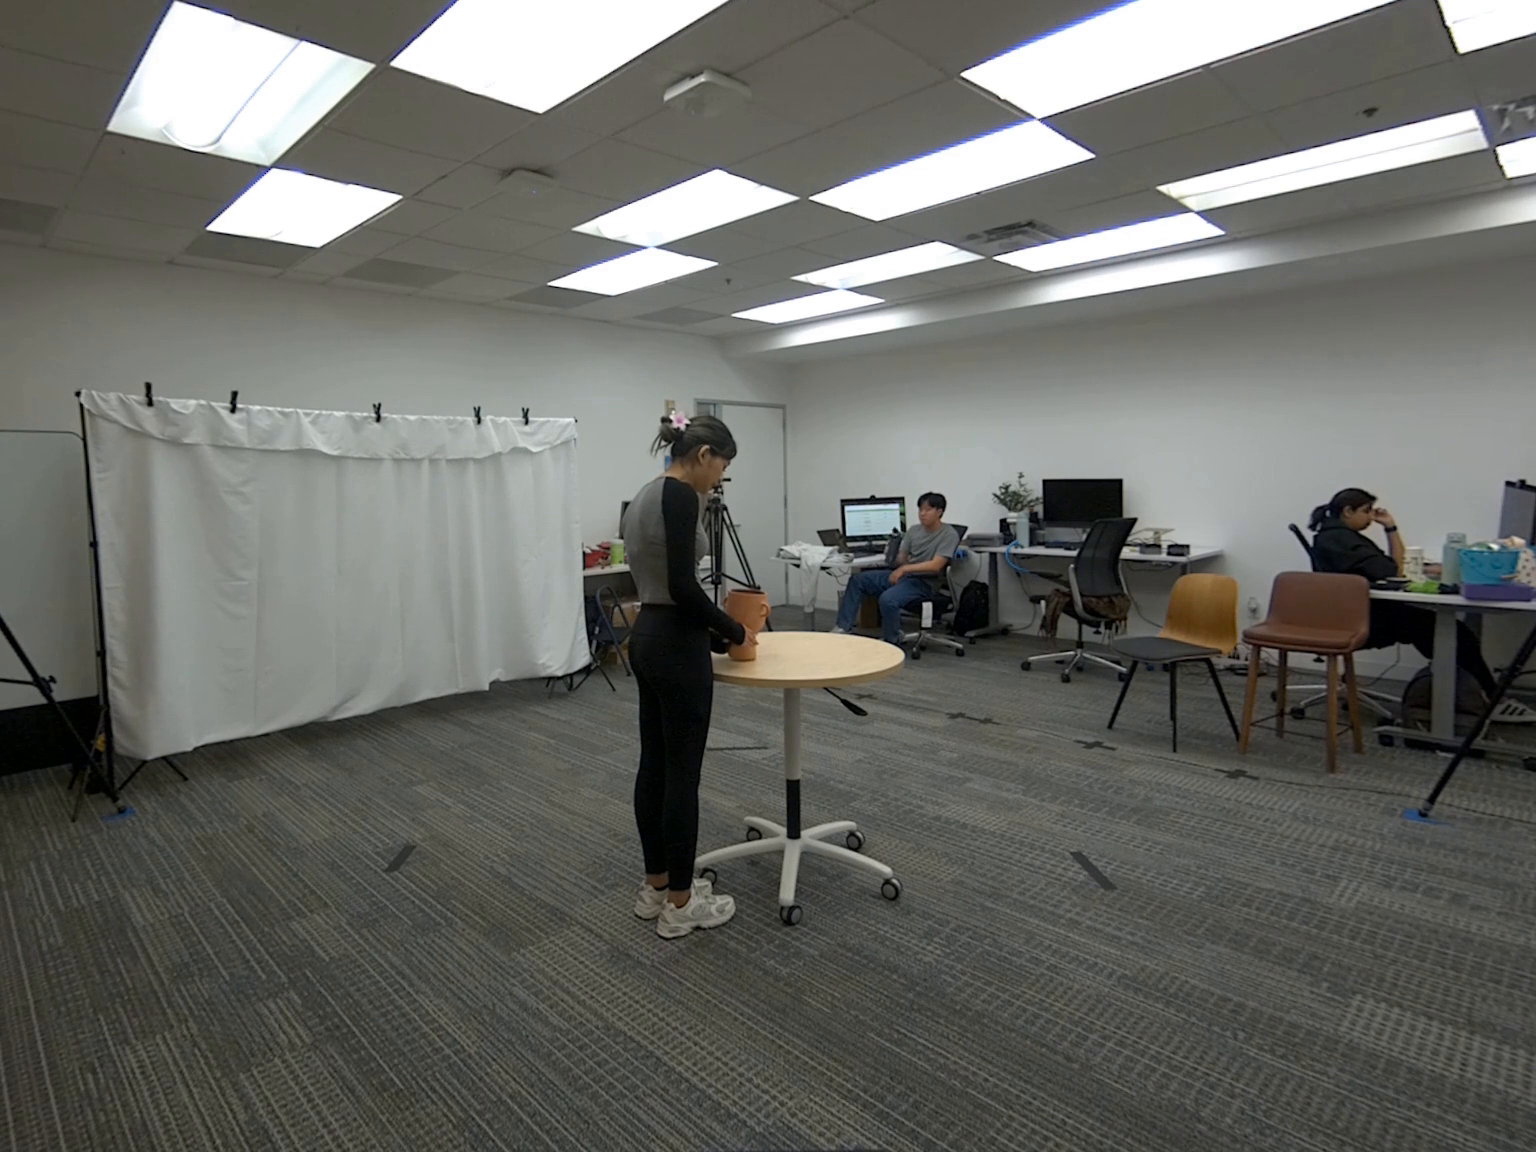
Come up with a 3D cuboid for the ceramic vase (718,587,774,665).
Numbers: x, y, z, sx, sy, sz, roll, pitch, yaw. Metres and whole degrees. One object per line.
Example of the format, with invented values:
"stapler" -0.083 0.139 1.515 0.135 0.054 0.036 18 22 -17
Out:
"ceramic vase" -0.077 0.162 2.855 0.133 0.218 0.162 4 7 -14
